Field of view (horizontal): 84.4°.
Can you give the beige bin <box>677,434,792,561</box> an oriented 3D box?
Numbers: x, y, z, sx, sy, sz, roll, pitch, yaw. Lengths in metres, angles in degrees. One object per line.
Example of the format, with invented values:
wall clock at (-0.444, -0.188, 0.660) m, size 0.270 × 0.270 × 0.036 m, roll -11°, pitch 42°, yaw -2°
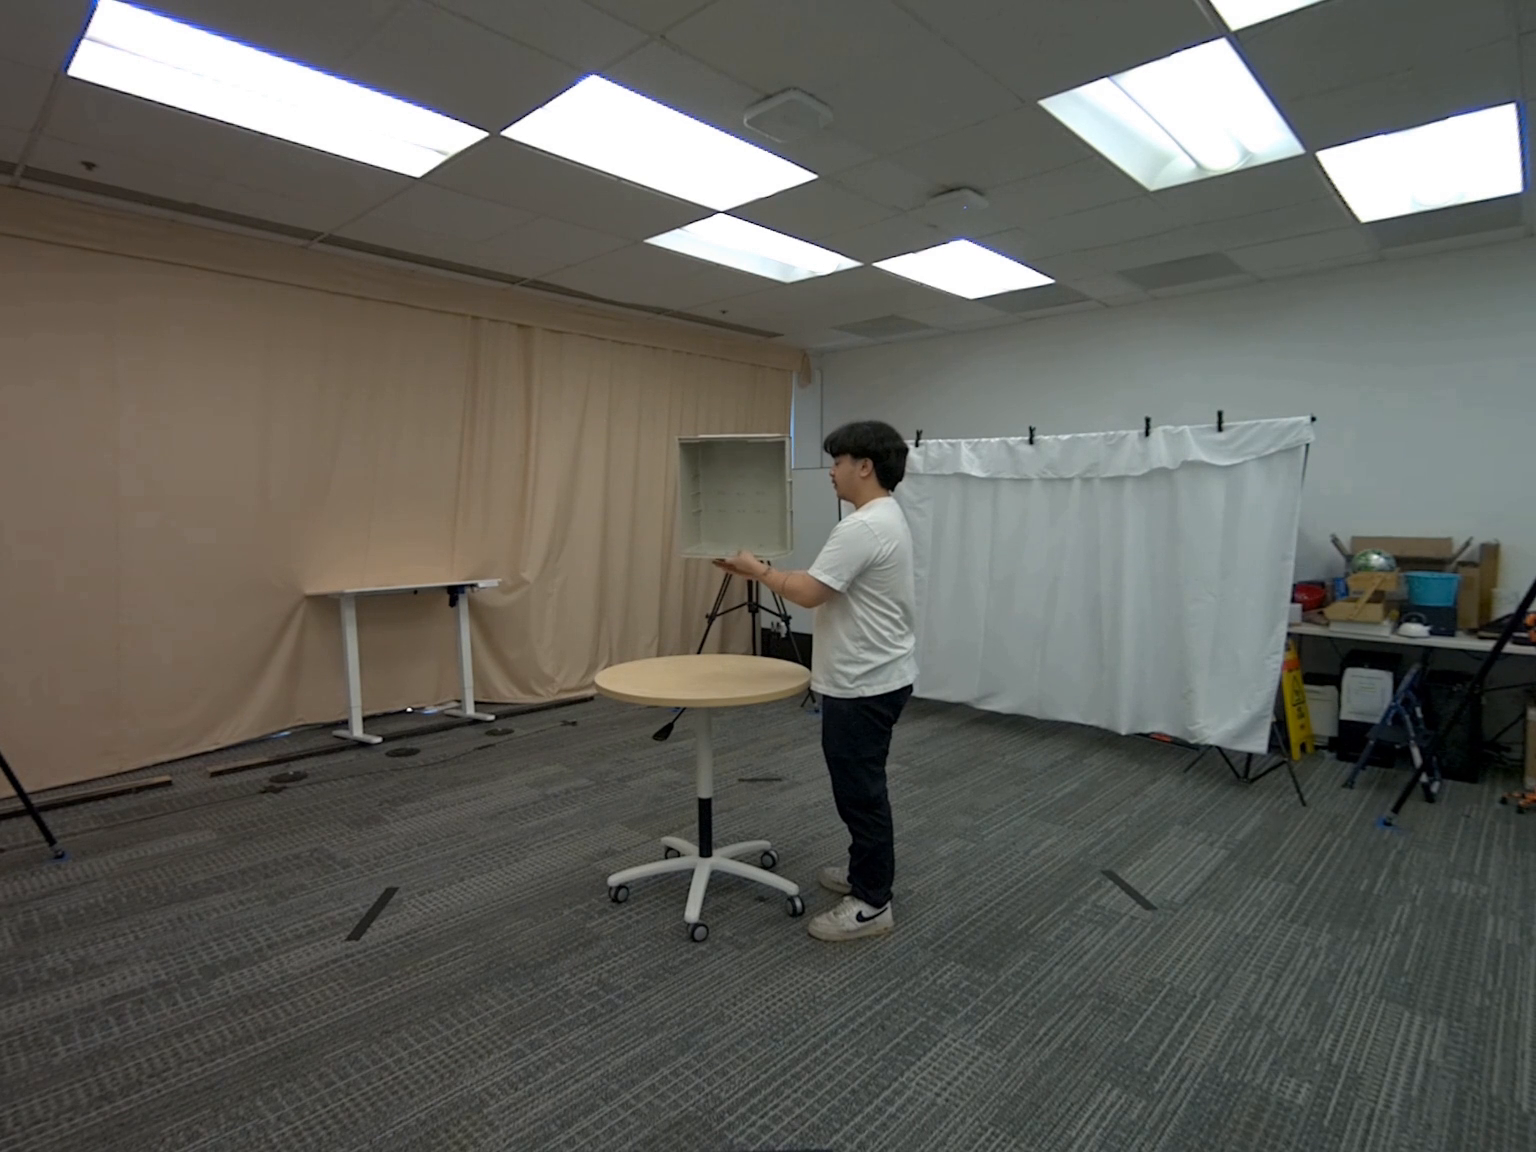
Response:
beige bin at (-0.104, -0.283, 2.944) m, size 0.386 × 0.420 × 0.185 m, roll 3°, pitch 9°, yaw 22°
